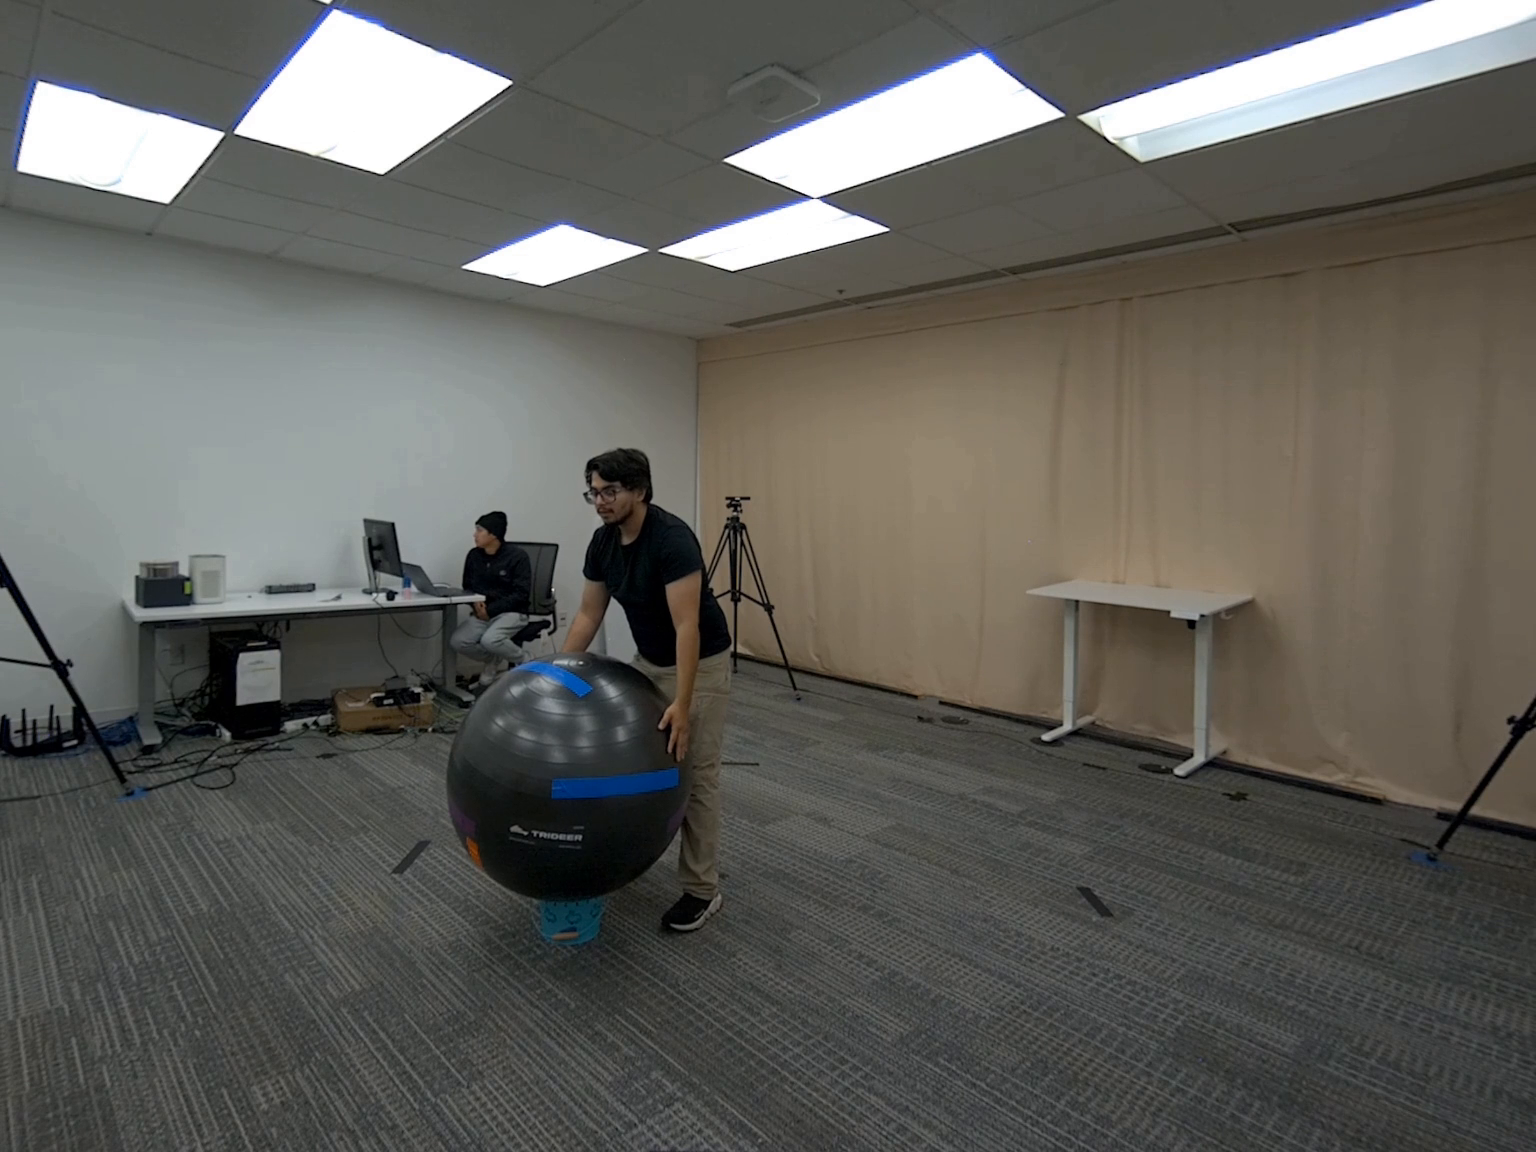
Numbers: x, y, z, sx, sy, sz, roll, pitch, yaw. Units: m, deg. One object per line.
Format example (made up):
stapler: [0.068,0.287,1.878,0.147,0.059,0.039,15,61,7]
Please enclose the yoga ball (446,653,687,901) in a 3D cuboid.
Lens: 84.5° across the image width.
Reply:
yoga ball: [-0.626,0.633,2.649,0.757,0.756,0.760,1,4,-1]
